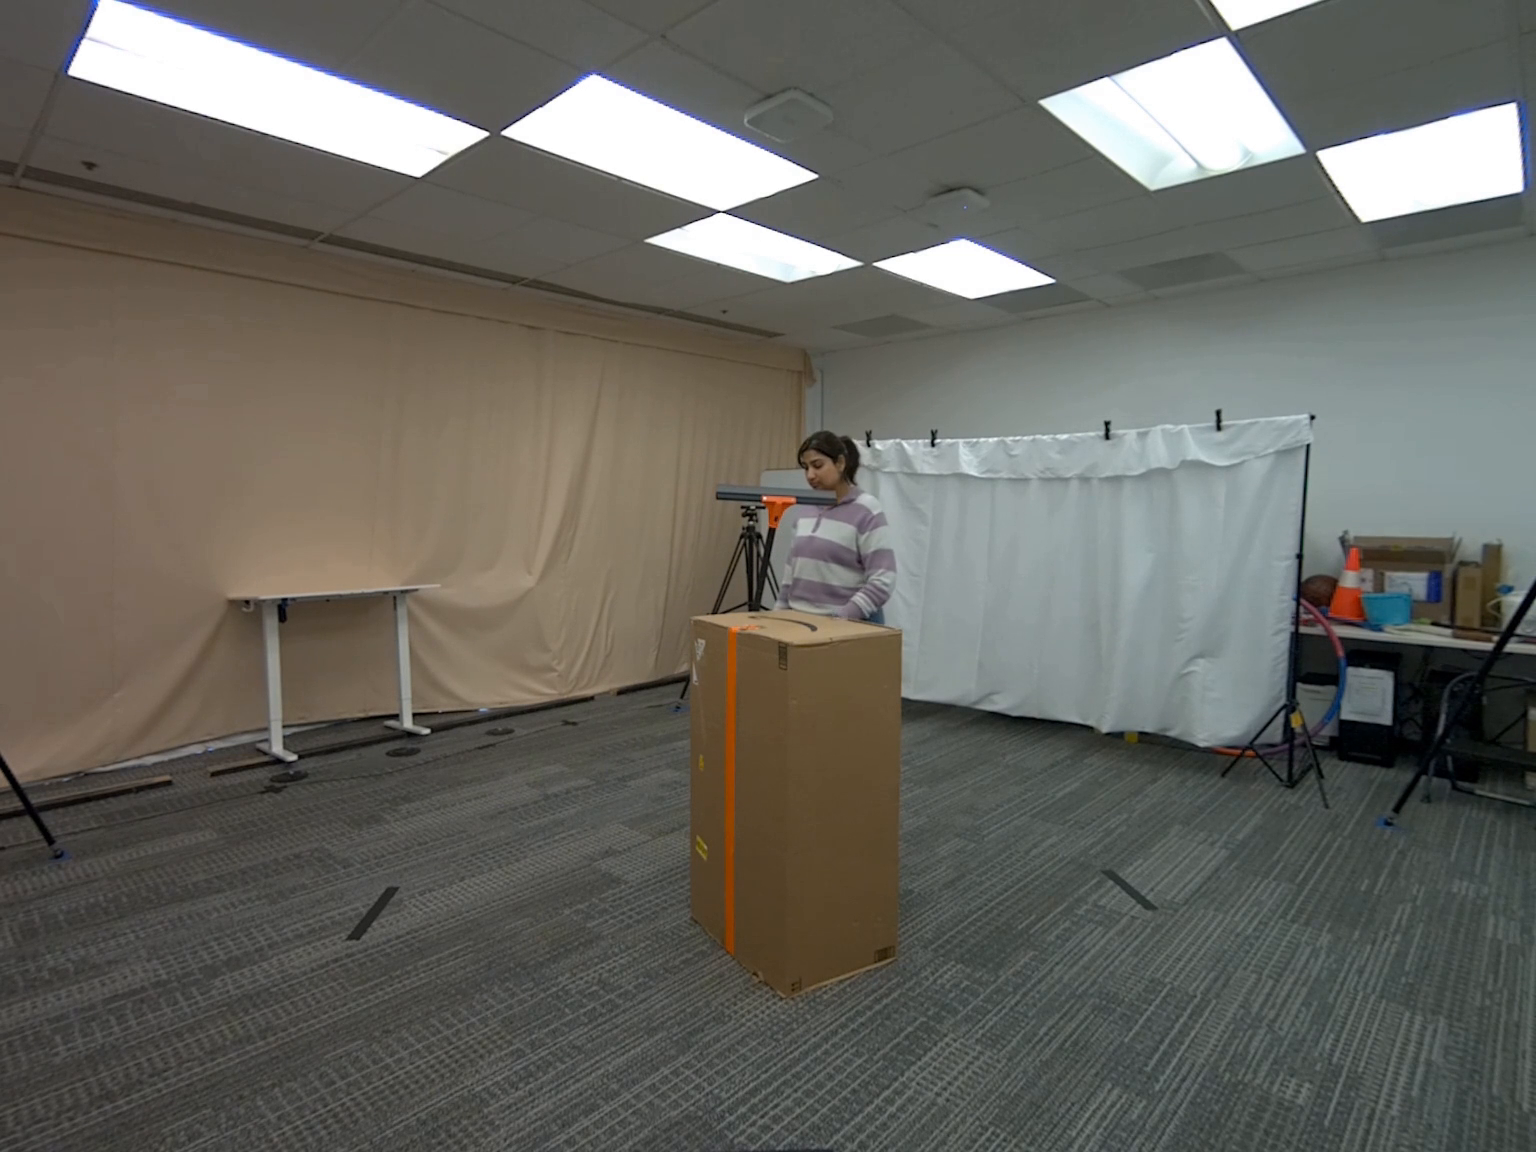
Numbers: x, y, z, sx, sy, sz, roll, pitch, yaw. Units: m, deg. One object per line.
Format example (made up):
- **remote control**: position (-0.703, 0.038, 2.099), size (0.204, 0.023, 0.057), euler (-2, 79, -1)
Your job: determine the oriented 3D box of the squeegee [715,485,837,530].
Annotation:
- **squeegee**: position (-0.093, 0.411, 3.075), size (0.428, 1.525, 0.054), euler (3, 23, -22)
